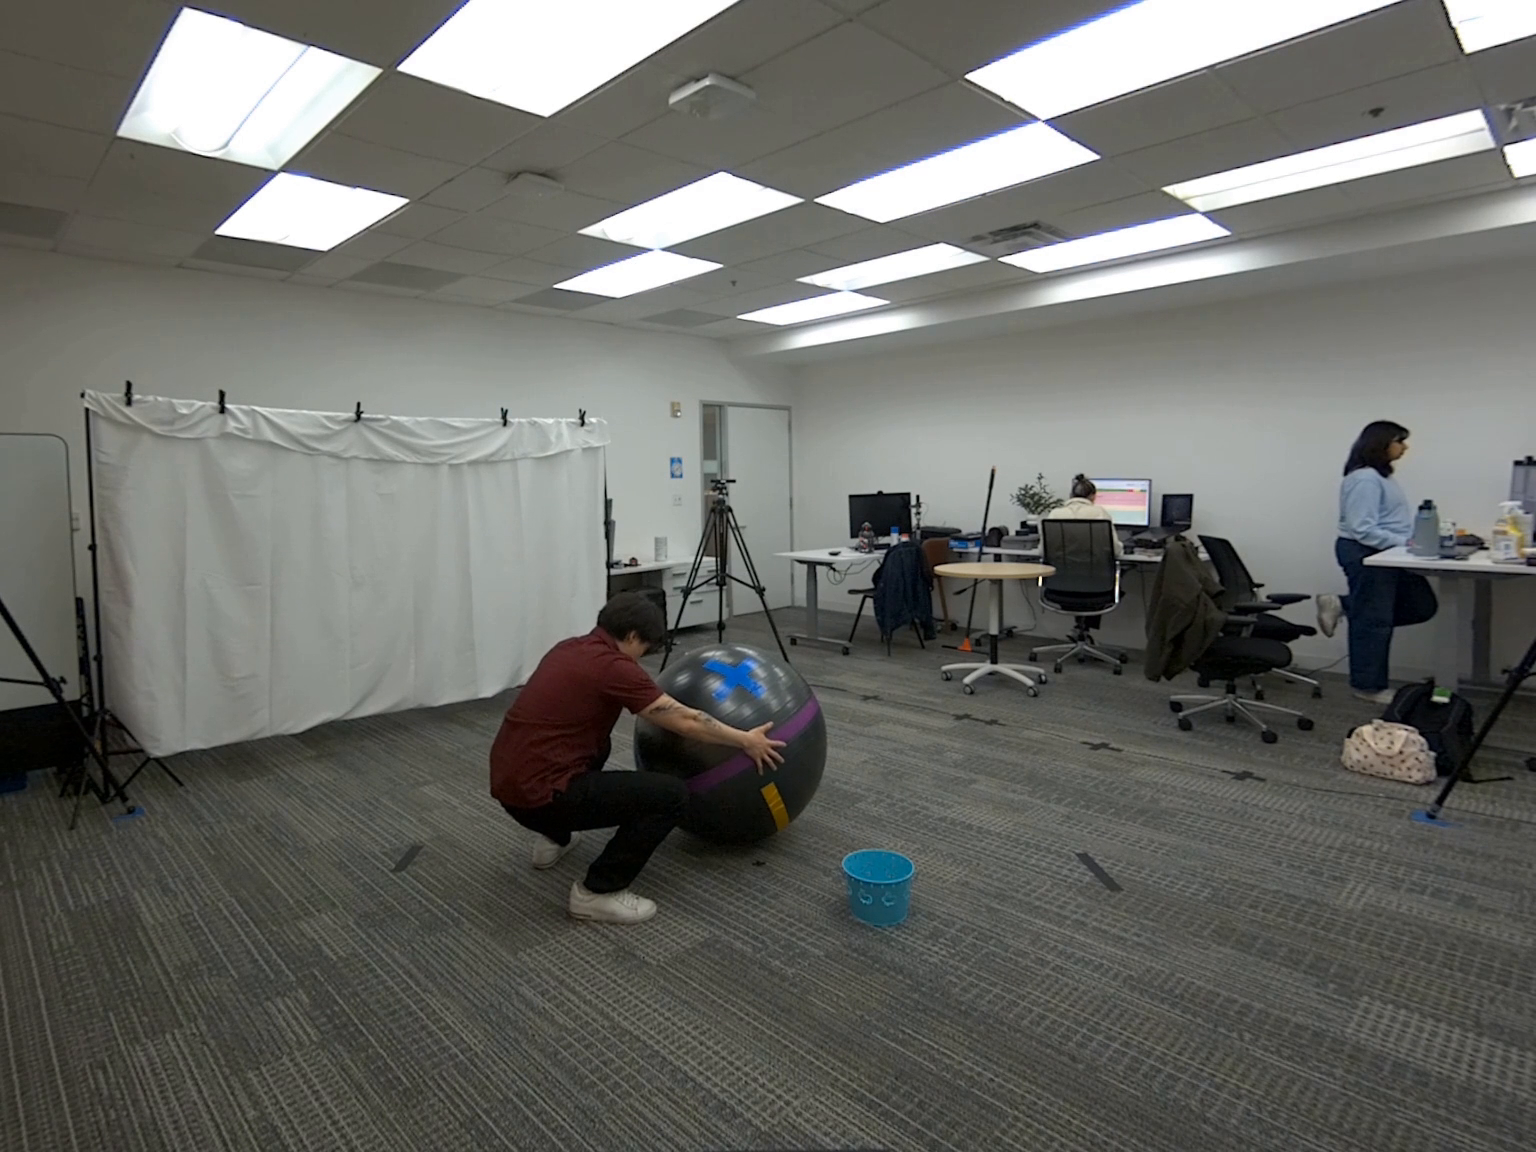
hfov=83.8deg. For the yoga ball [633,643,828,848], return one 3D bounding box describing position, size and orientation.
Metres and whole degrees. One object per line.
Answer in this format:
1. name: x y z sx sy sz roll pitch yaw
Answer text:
1. yoga ball: -0.146 0.656 3.362 0.757 0.755 0.762 -1 5 -2
